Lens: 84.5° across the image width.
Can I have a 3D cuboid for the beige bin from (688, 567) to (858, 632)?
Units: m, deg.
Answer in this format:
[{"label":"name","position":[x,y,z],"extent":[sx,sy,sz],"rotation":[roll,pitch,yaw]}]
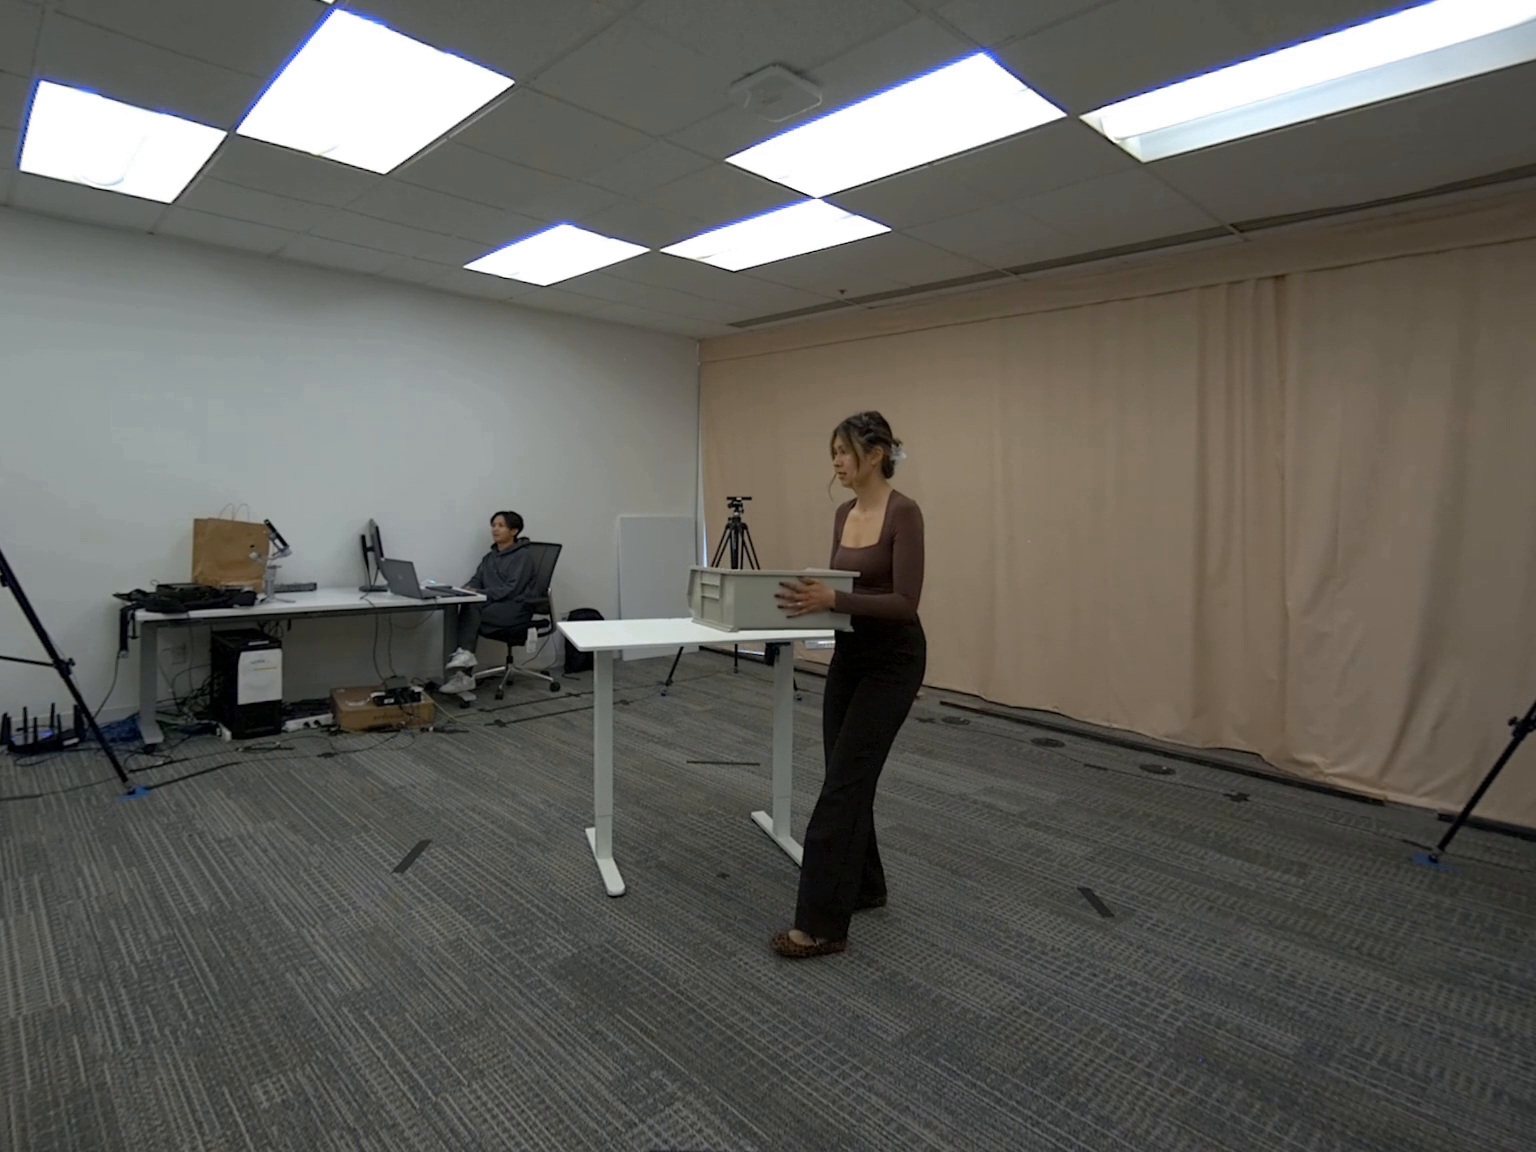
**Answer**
[{"label":"beige bin","position":[0.000,0.070,2.626],"extent":[0.415,0.189,0.384],"rotation":[2,2,-24]}]
